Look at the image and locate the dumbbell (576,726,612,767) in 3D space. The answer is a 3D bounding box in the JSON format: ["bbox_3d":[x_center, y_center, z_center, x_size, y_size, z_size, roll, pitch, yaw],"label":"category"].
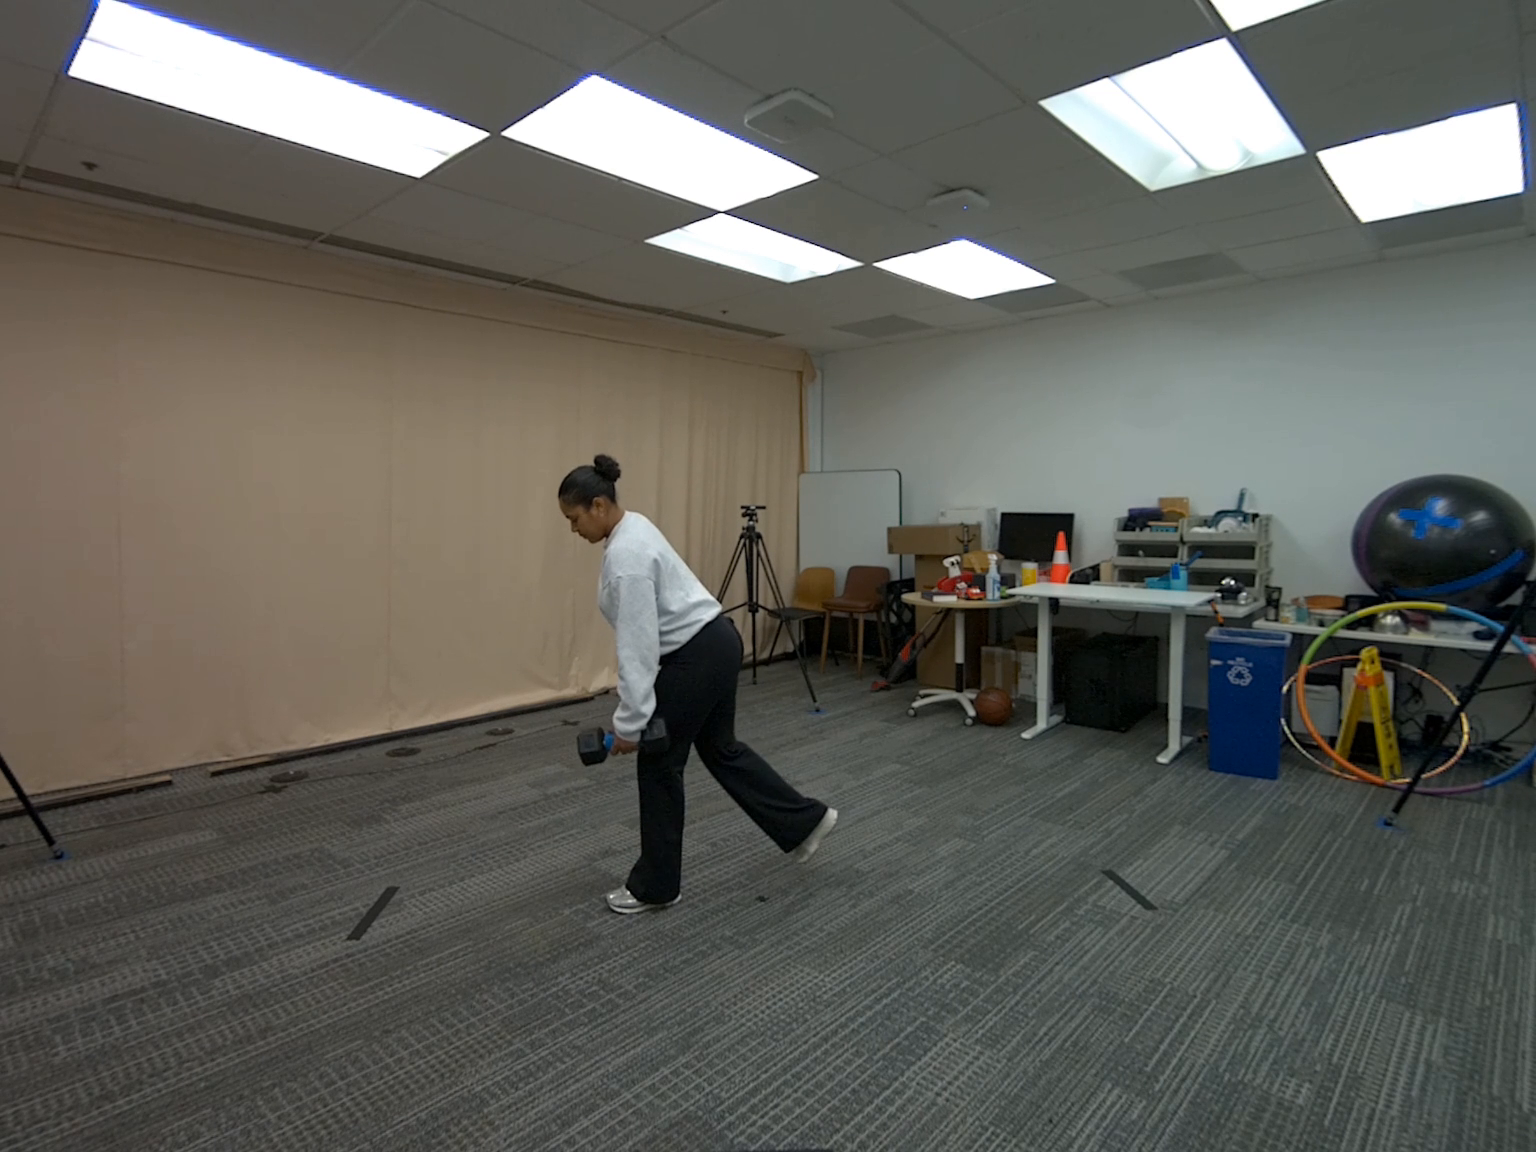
[{"bbox_3d":[-0.469,0.539,2.755,0.294,0.120,0.111,-11,35,2],"label":"dumbbell"}]
